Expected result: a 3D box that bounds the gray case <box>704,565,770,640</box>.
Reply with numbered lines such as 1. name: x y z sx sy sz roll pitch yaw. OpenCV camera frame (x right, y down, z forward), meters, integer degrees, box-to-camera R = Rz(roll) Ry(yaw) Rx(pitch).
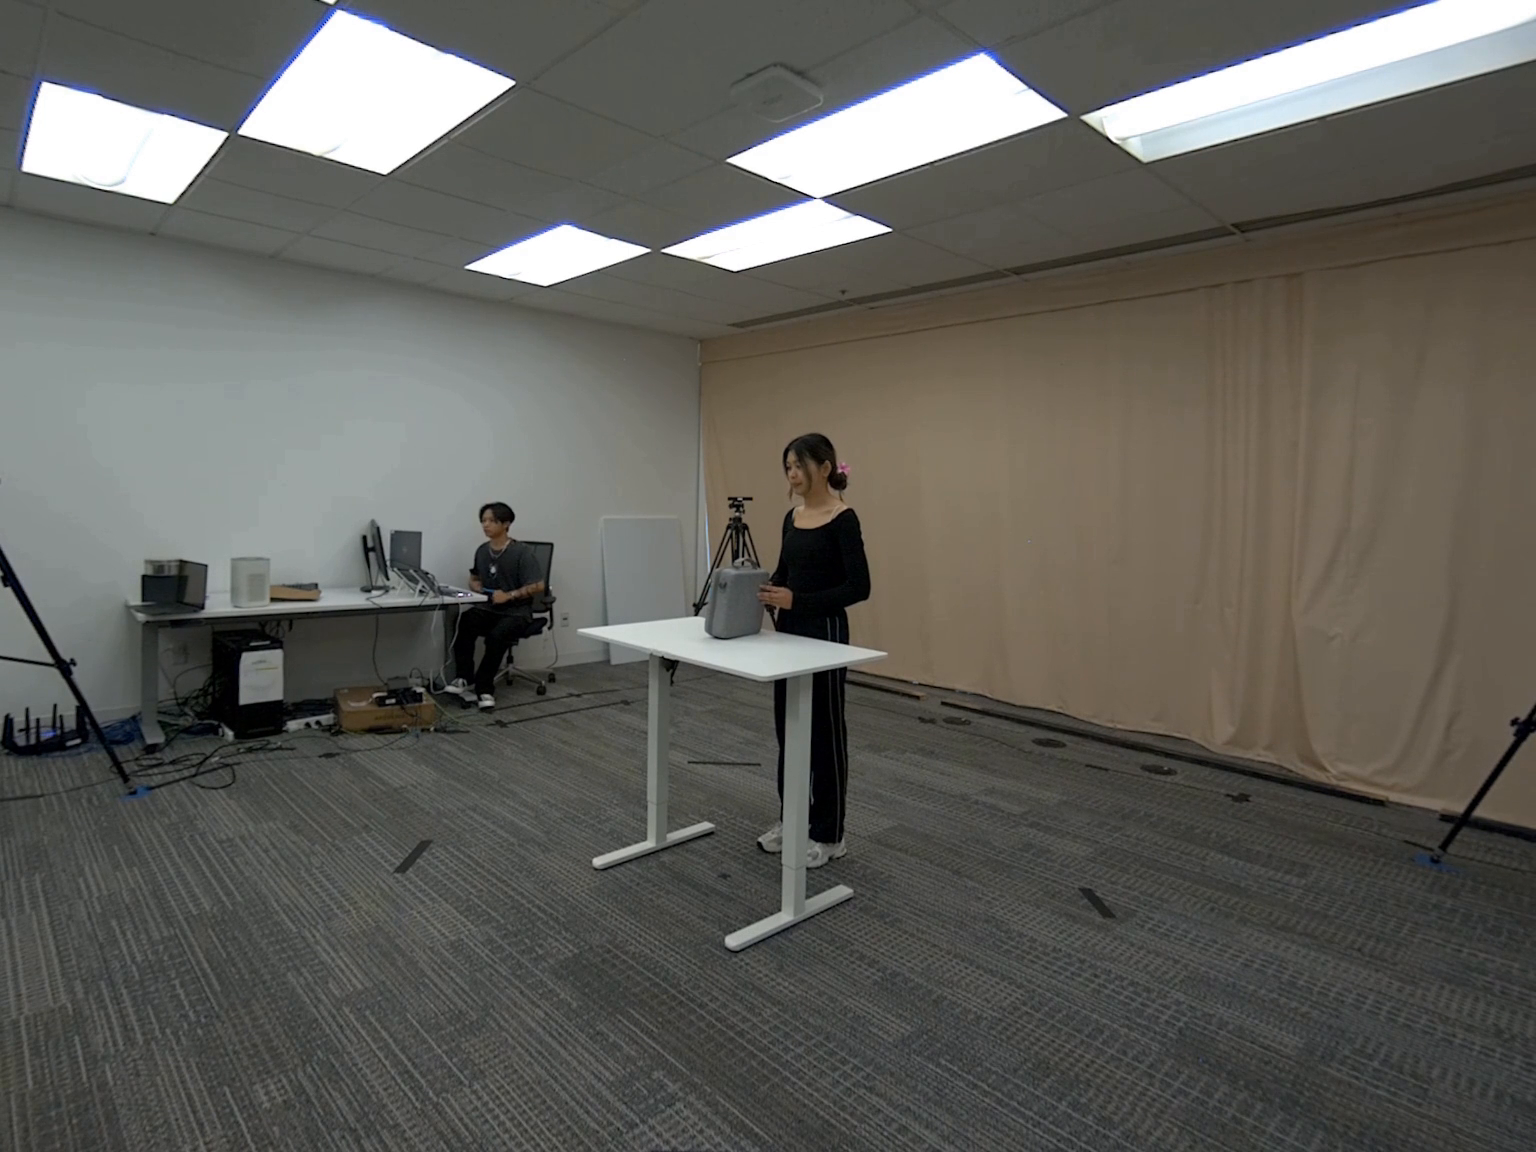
1. gray case: -0.120 0.093 3.110 0.107 0.259 0.251 12 8 32
